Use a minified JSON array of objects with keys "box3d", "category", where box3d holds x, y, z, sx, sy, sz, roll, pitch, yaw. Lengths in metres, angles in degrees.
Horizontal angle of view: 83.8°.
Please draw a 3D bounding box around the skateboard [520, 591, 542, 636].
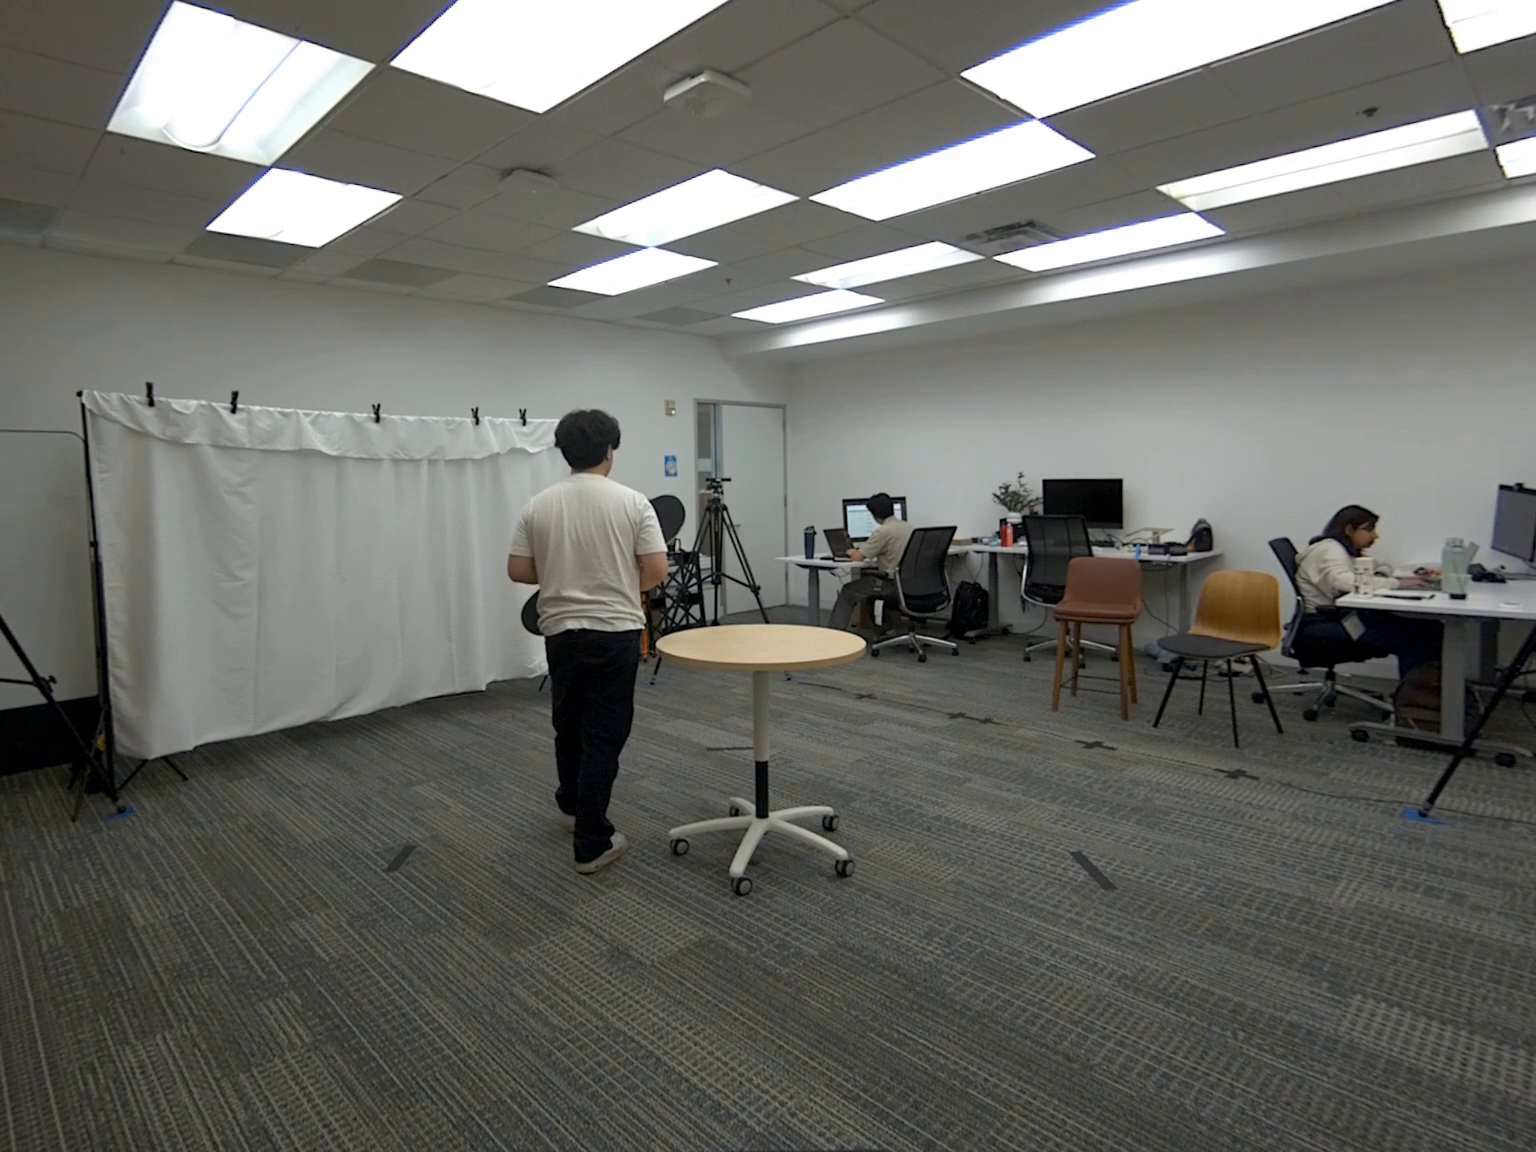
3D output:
[{"box3d":[-0.637,-0.036,3.426,0.784,0.198,0.108,-40,-18,-6],"category":"skateboard"}]
